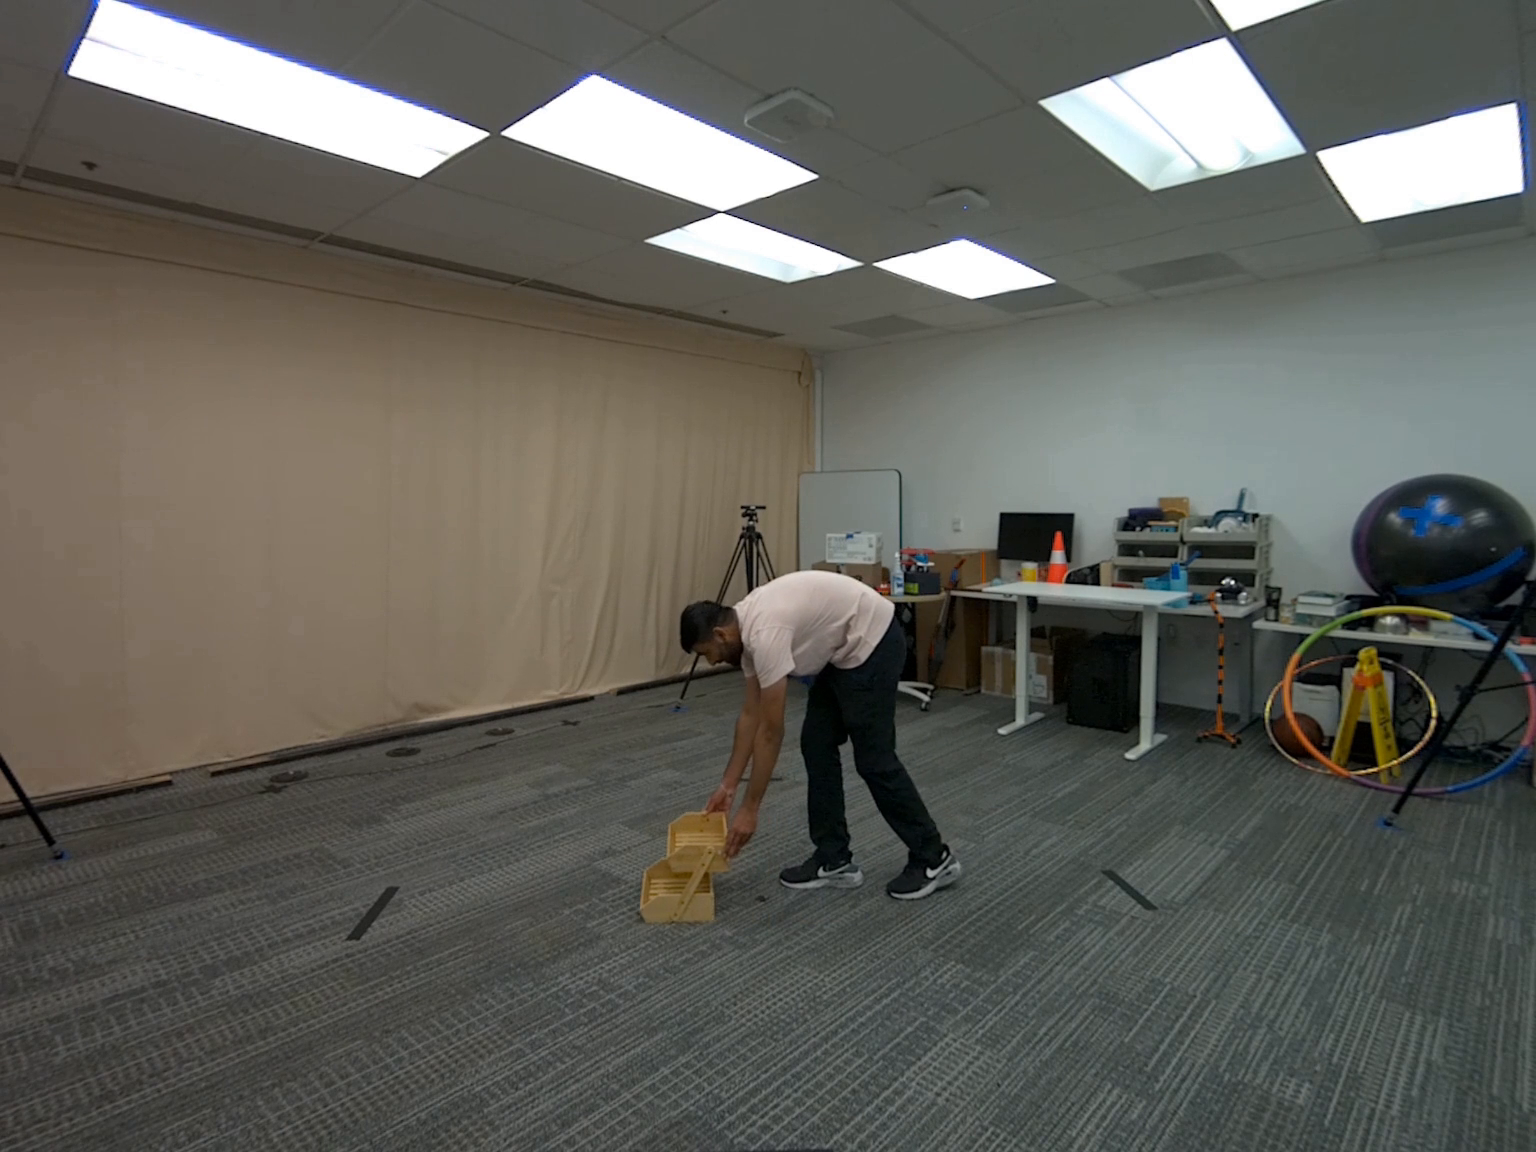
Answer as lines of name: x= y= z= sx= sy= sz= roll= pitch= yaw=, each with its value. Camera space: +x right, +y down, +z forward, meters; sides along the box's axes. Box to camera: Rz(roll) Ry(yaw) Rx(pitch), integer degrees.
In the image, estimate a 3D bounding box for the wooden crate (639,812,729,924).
wooden crate: x=-0.300 y=1.015 z=2.960 sx=0.301 sy=0.273 sz=0.326 roll=-1 pitch=4 yaw=-4
